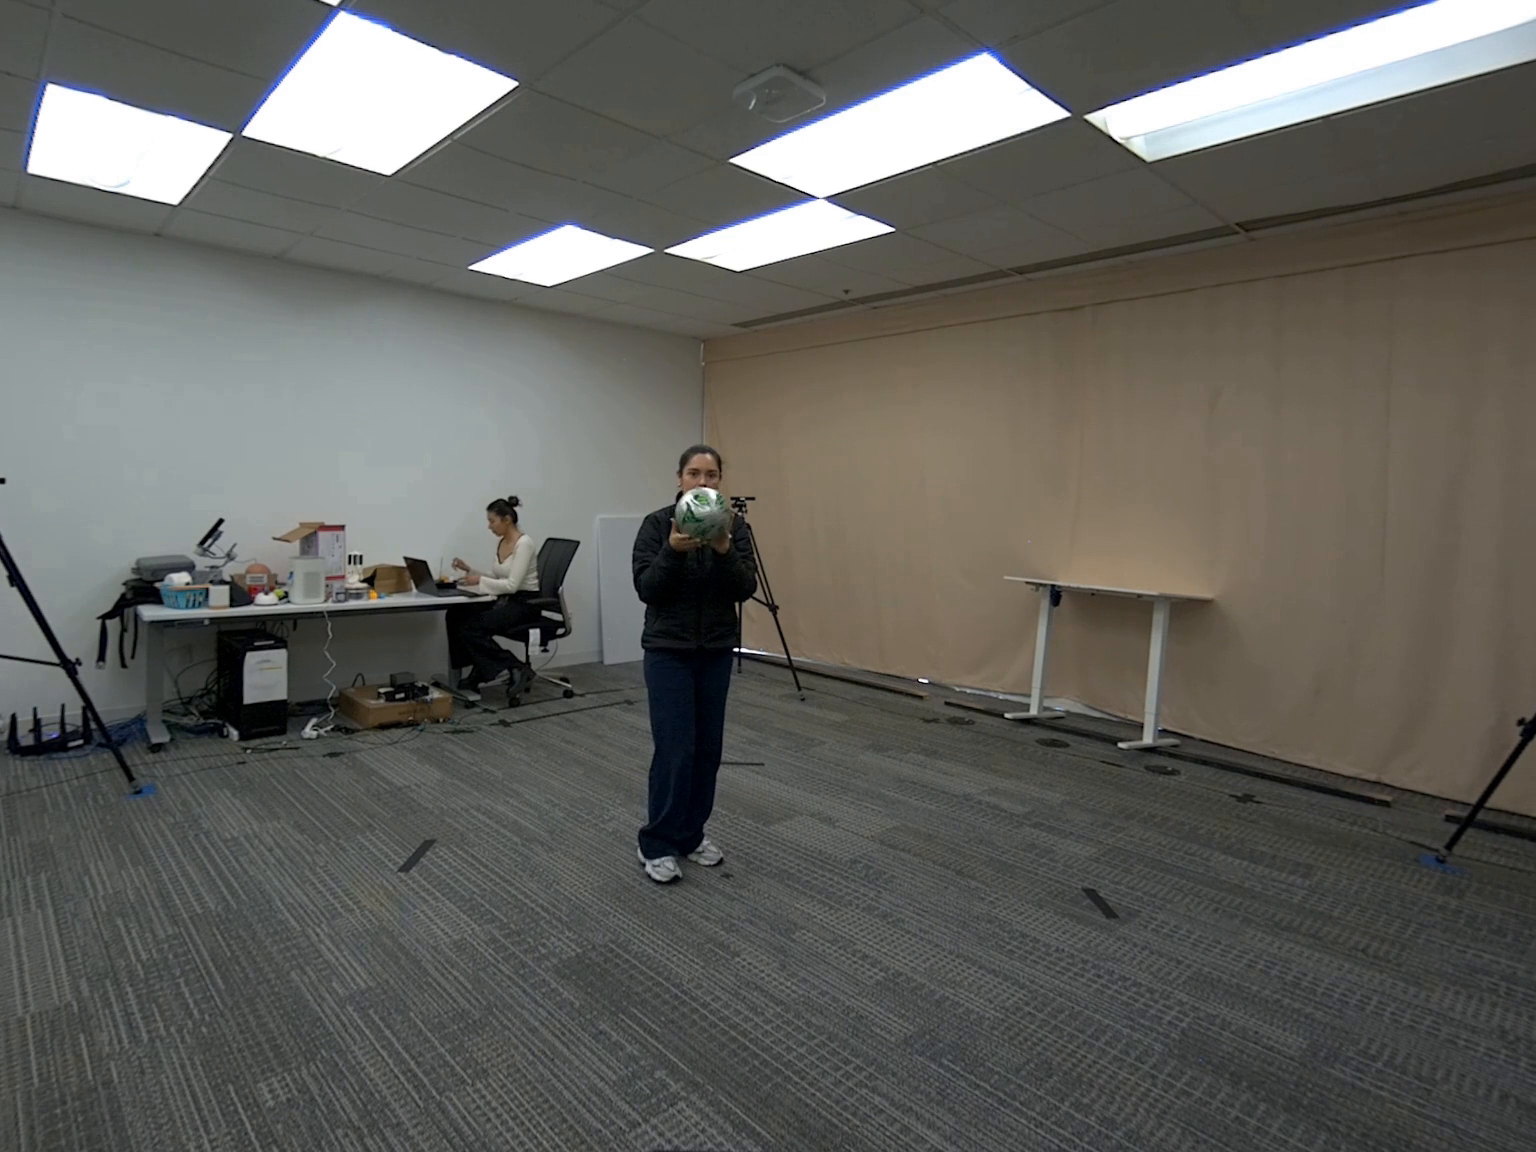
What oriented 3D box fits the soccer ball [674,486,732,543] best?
[{"bbox_3d":[-0.238,-0.211,2.868,0.187,0.187,0.188,1,4,-1],"label":"soccer ball"}]
